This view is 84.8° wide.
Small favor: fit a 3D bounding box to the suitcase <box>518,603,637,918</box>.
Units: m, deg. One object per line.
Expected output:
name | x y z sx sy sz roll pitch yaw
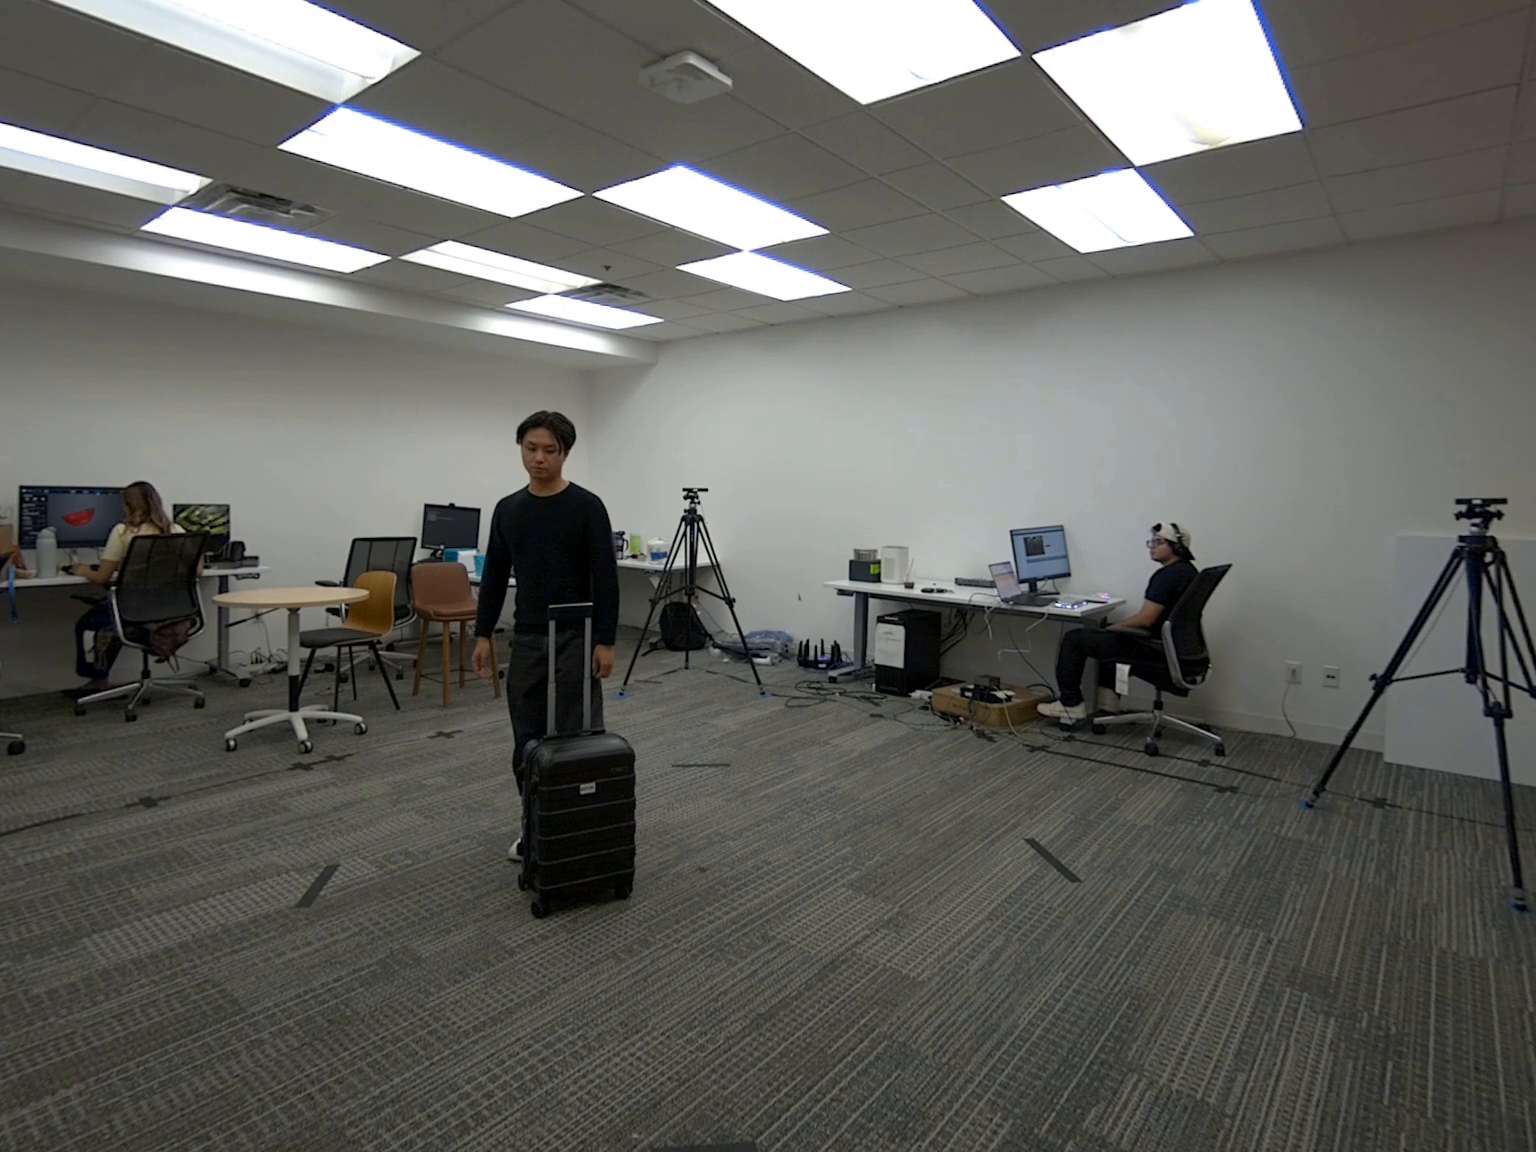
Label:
suitcase | -0.651 0.610 2.865 0.374 0.975 0.264 0 4 -27
